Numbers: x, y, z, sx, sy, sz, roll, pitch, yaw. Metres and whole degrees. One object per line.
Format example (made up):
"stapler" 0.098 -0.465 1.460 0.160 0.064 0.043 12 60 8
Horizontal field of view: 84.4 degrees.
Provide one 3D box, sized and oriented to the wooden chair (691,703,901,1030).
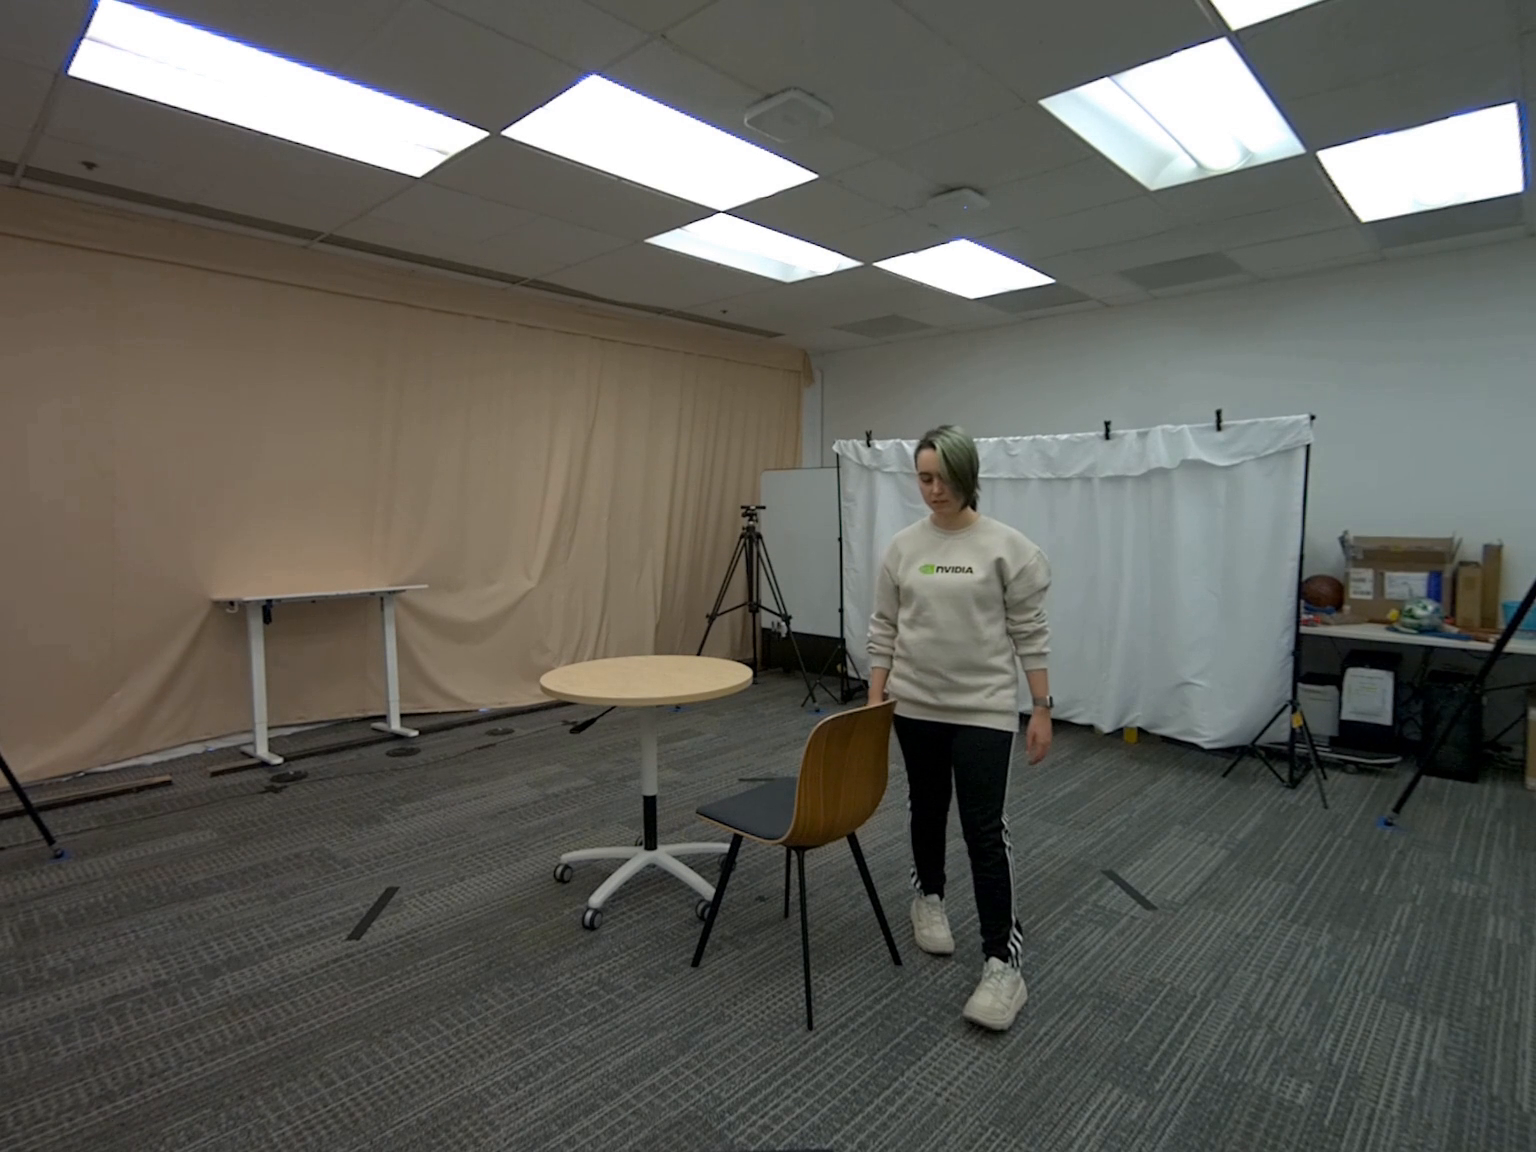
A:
"wooden chair" 0.080 0.757 2.527 0.541 0.874 0.463 9 8 42
